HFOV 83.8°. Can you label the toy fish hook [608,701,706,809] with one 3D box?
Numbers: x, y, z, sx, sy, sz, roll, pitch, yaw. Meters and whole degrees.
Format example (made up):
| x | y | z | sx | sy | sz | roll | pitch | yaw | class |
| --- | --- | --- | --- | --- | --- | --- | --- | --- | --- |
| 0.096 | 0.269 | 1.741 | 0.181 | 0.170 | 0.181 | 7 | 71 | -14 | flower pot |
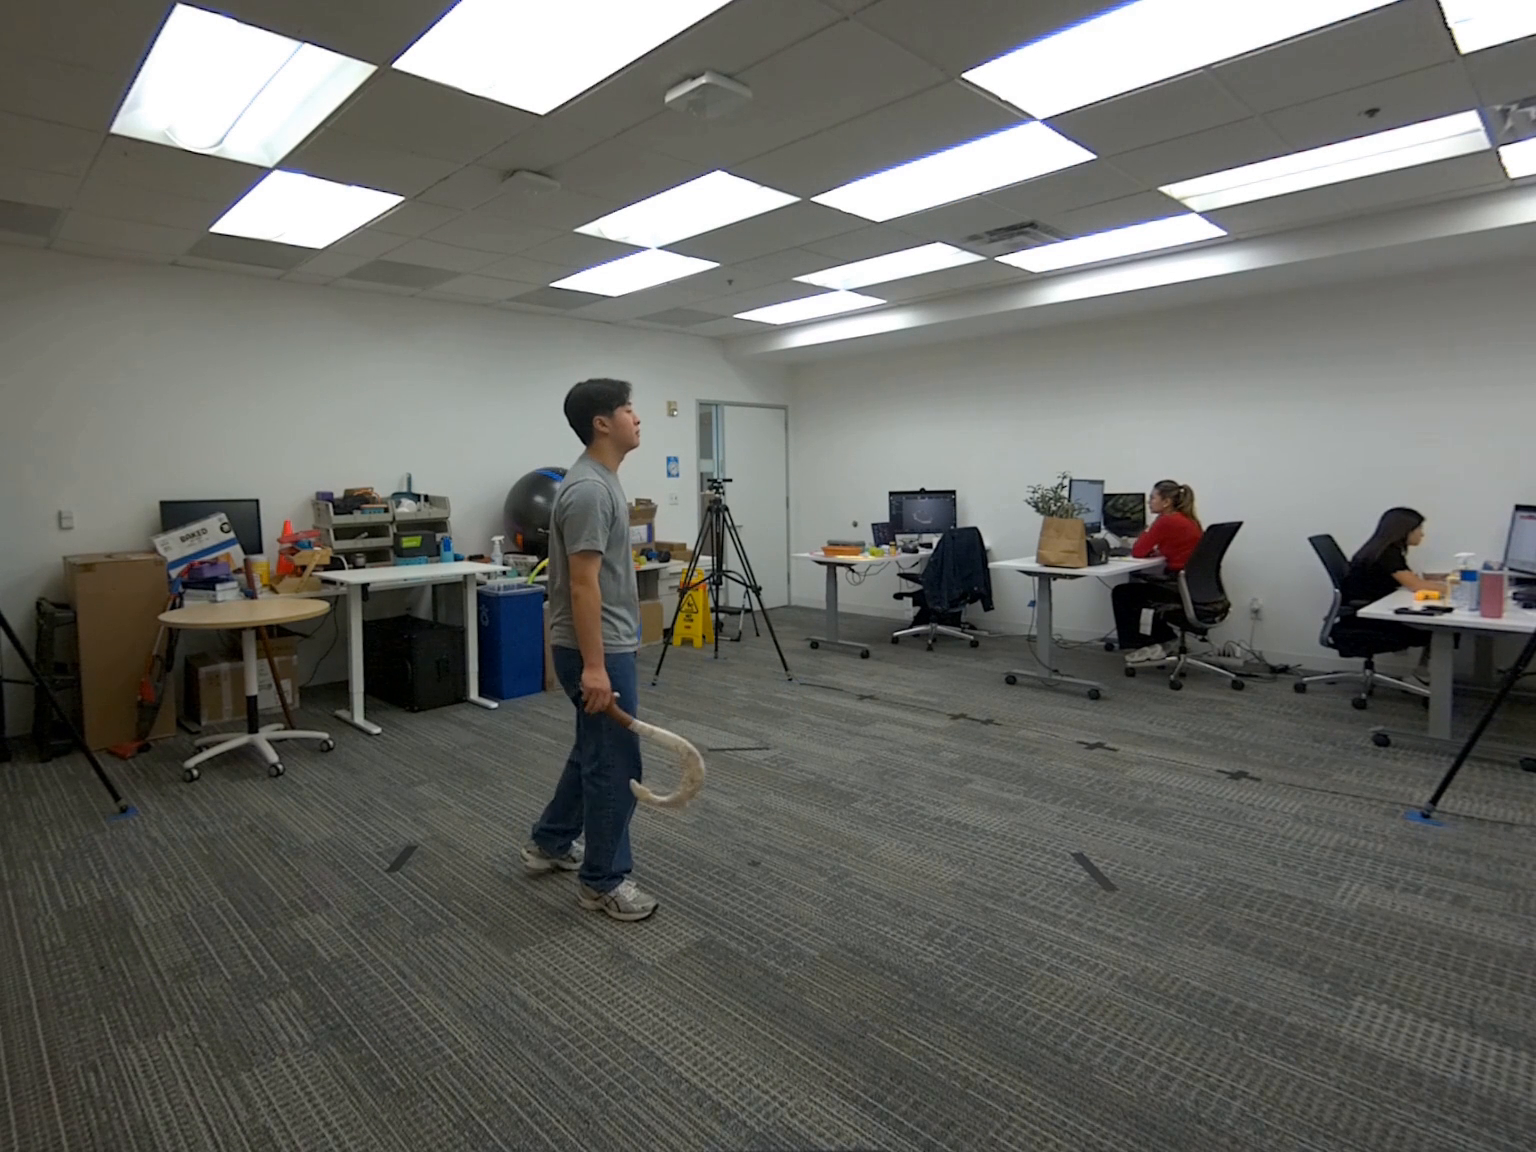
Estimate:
| x | y | z | sx | sy | sz | roll | pitch | yaw | class |
| --- | --- | --- | --- | --- | --- | --- | --- | --- | --- |
| -0.408 | 0.511 | 2.643 | 0.225 | 0.504 | 0.048 | -50 | 4 | -22 | toy fish hook |
